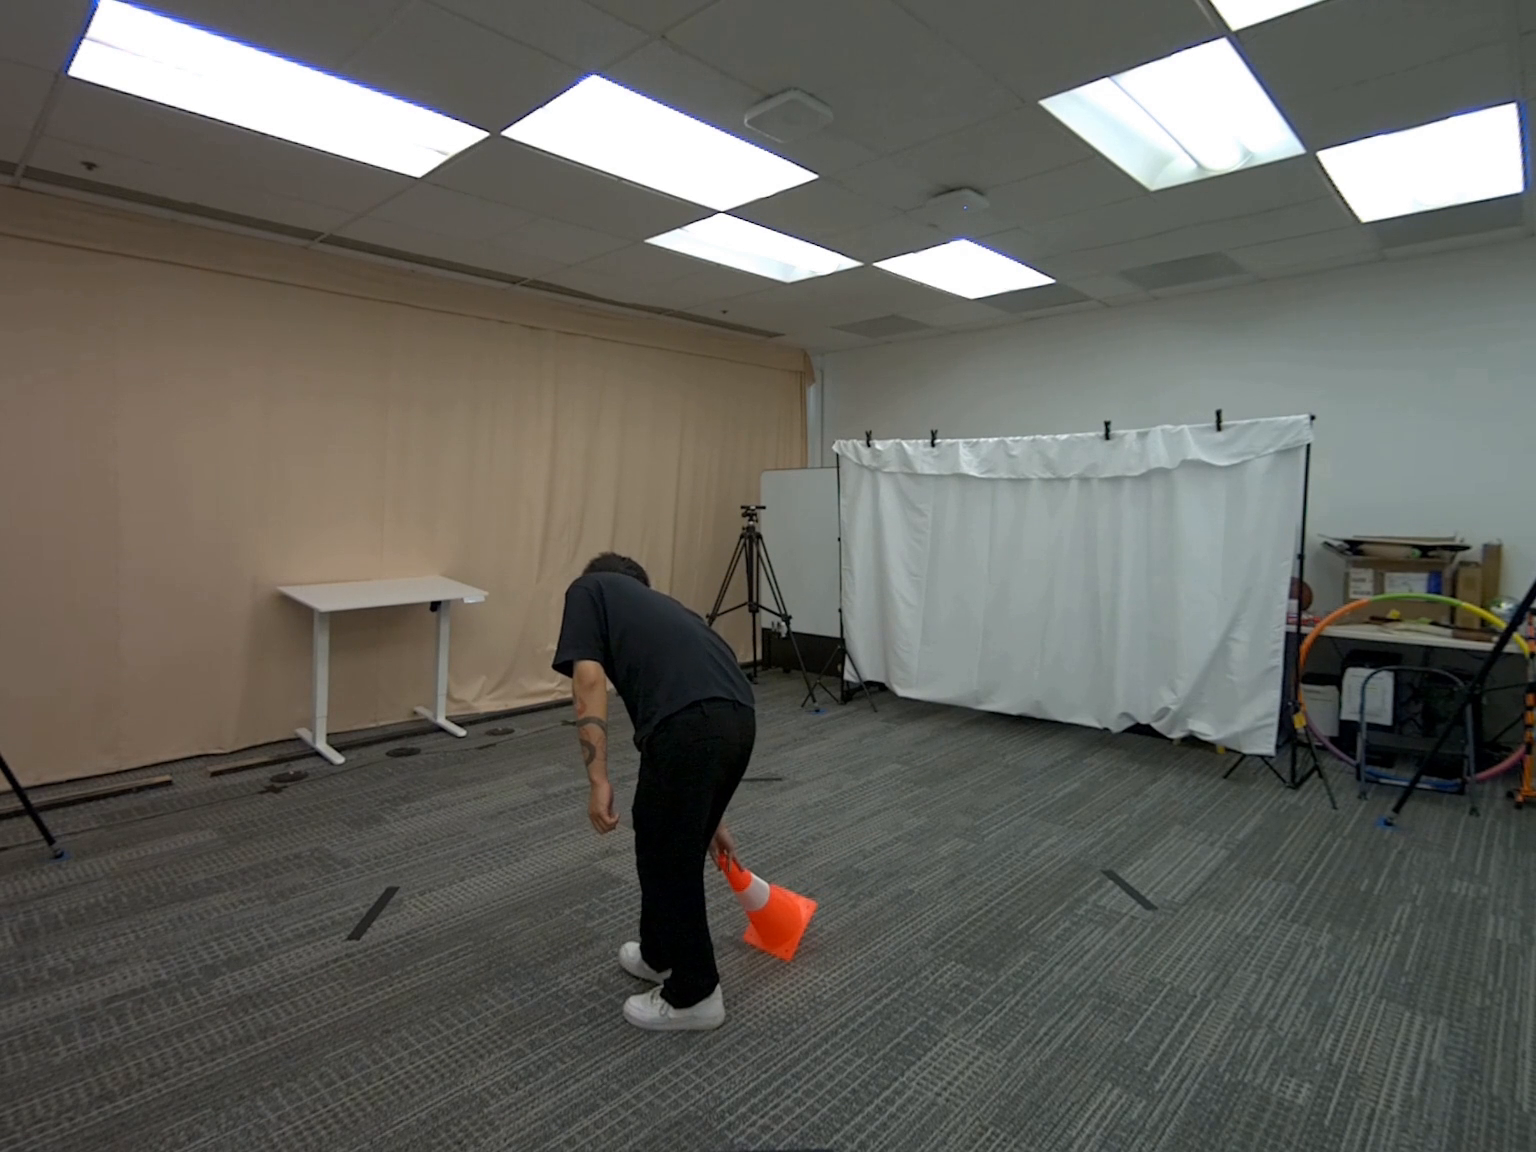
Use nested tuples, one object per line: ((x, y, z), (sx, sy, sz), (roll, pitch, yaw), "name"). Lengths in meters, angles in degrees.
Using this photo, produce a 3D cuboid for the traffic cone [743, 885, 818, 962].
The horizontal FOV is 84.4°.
((-0.044, 0.976, 2.584), (0.210, 0.373, 0.204), (4, 46, 45), "traffic cone")
